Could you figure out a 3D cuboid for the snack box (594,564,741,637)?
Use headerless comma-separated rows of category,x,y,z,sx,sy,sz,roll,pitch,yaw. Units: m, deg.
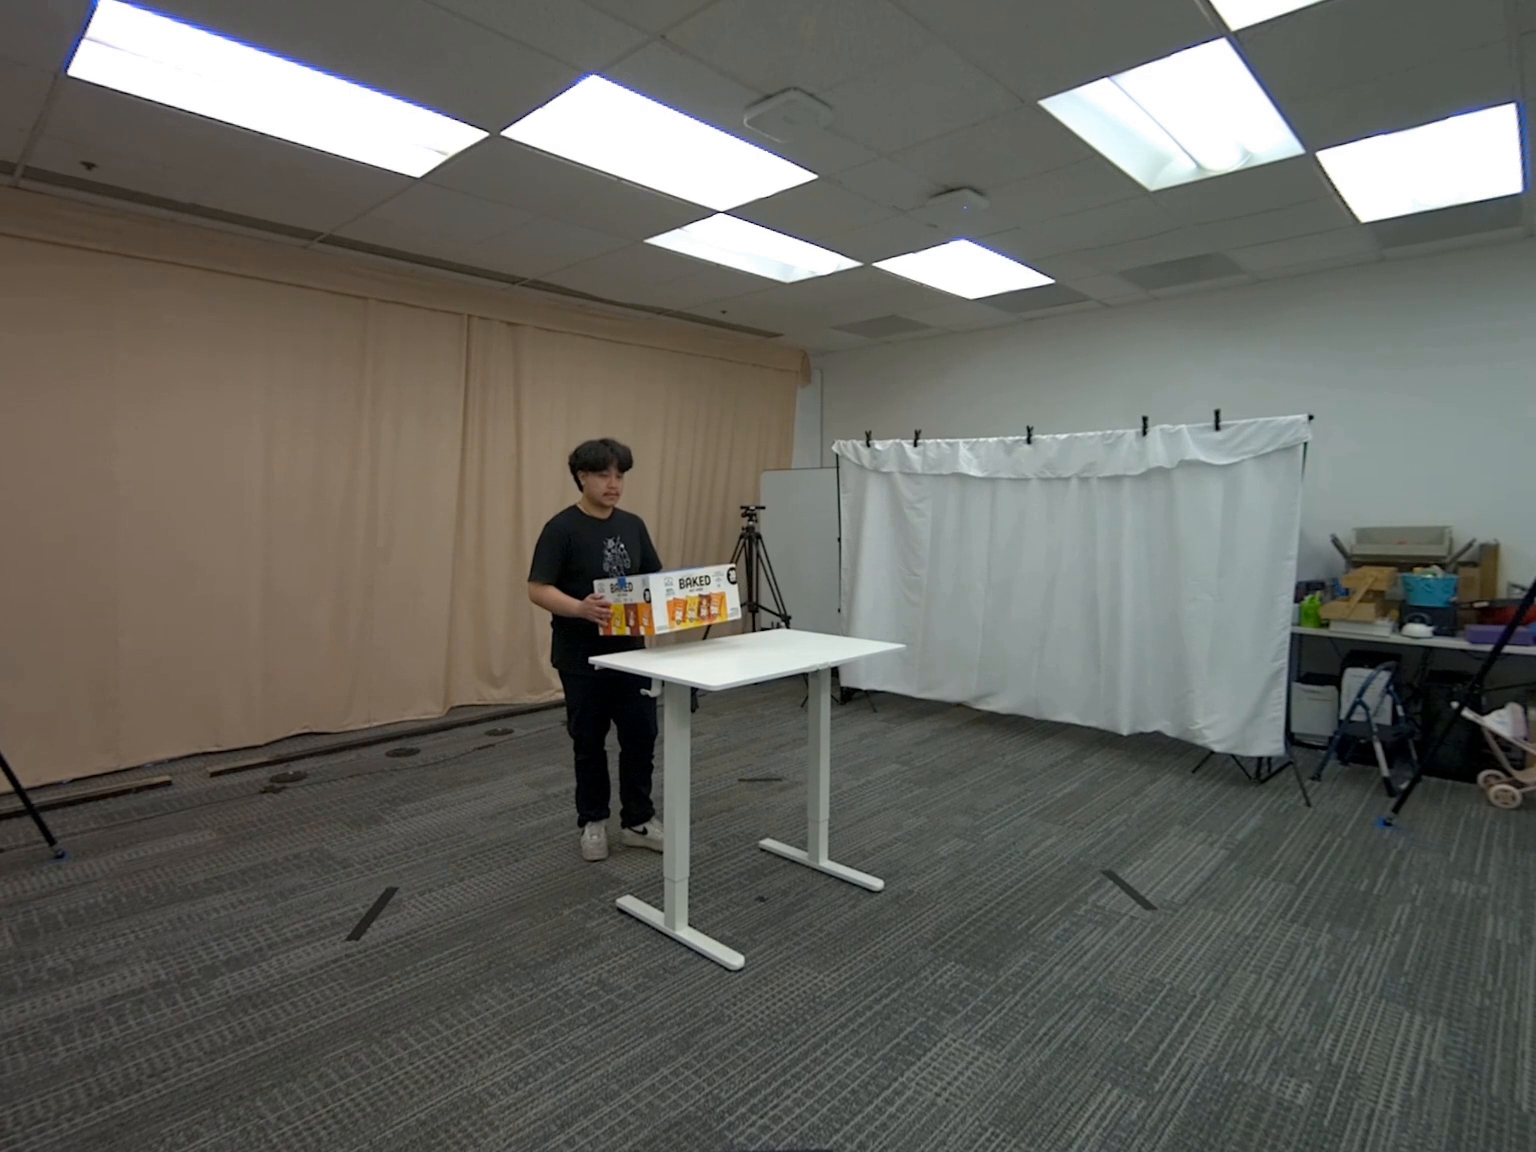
snack box,-0.362,0.086,3.086,0.393,0.205,0.351,-7,2,-44
